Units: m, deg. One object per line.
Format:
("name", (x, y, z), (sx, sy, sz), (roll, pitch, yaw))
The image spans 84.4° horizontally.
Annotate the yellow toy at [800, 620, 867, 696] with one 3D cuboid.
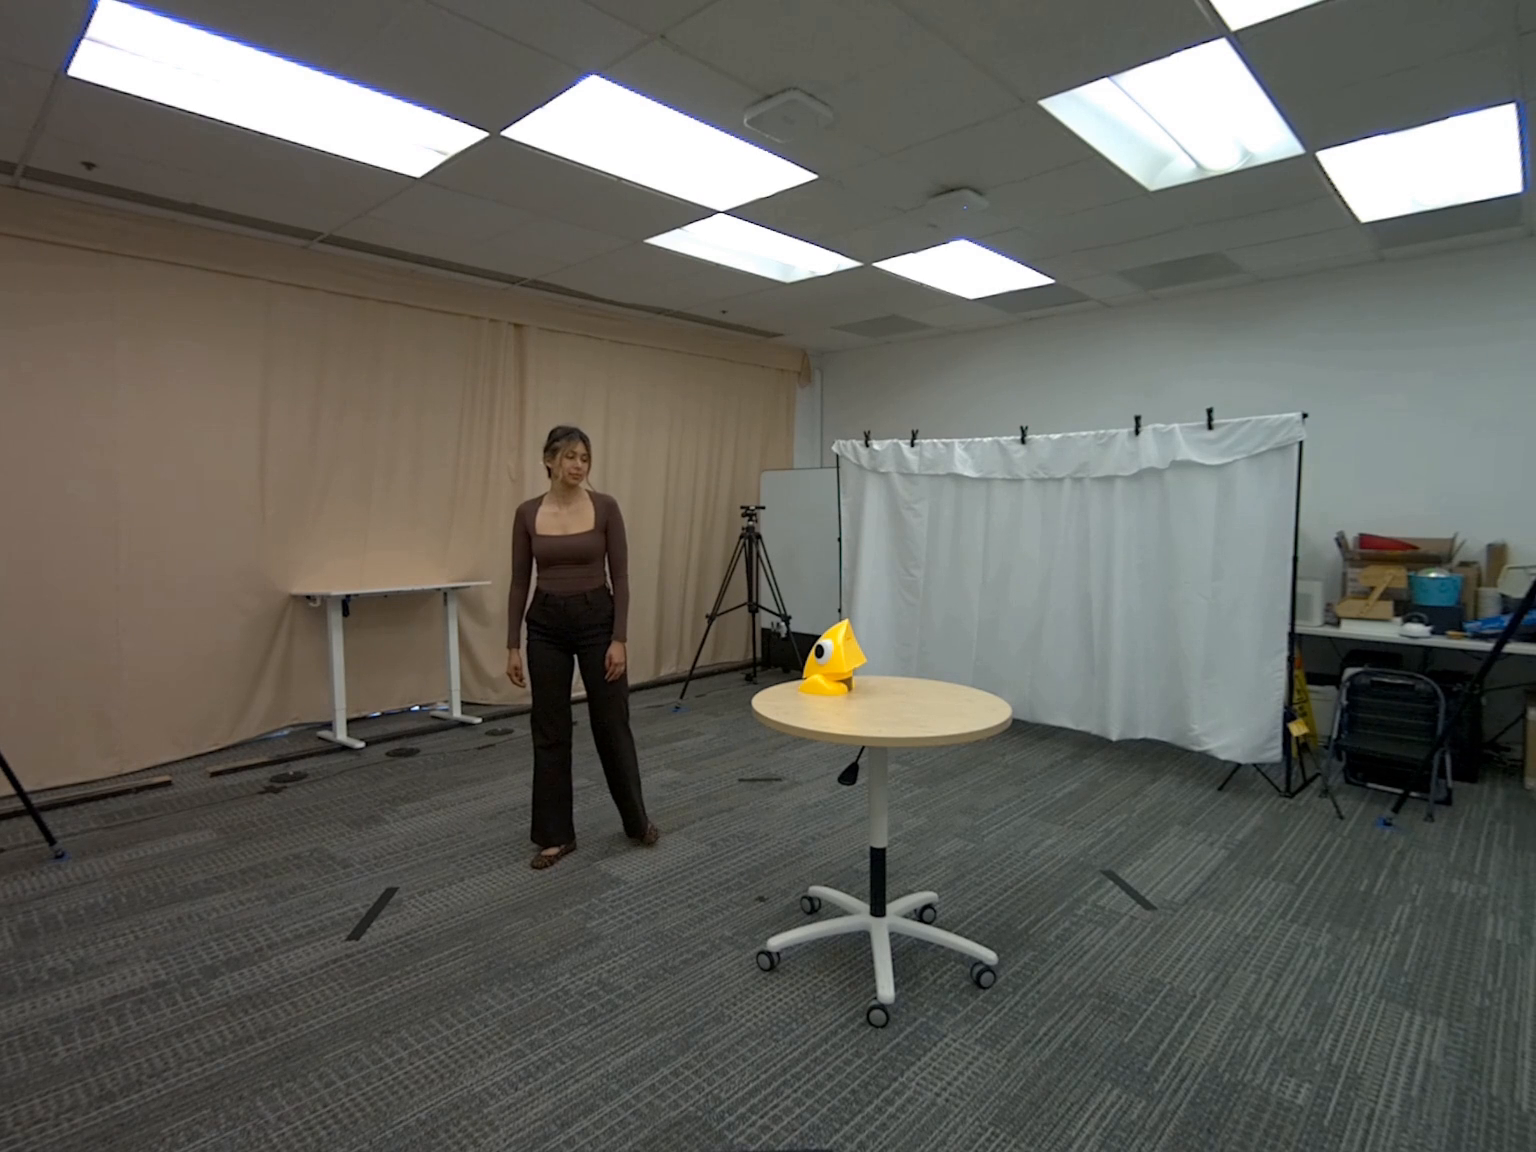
("yellow toy", (0.207, 0.253, 2.736), (0.198, 0.230, 0.200), (2, 5, 26))
